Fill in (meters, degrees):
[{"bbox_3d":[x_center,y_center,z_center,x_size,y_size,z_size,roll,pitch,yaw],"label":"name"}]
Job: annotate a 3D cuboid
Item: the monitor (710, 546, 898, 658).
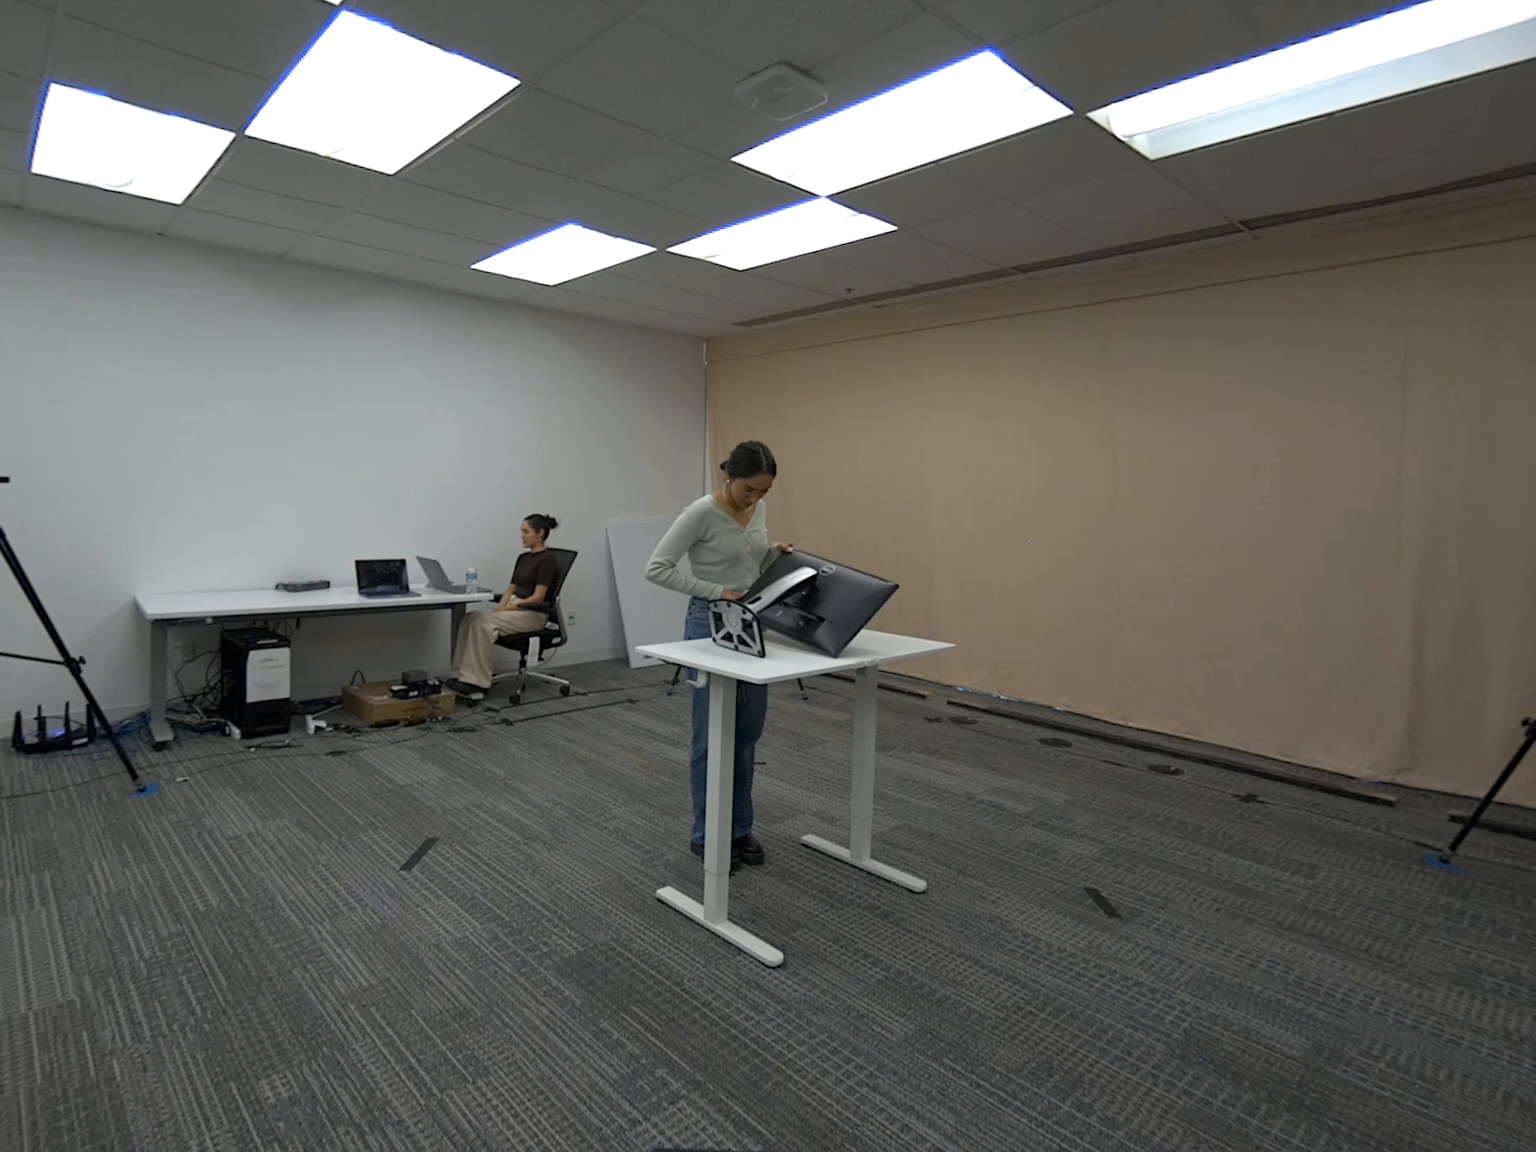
[{"bbox_3d":[0.073,0.088,2.854,0.517,0.183,0.555,-30,35,-36],"label":"monitor"}]
